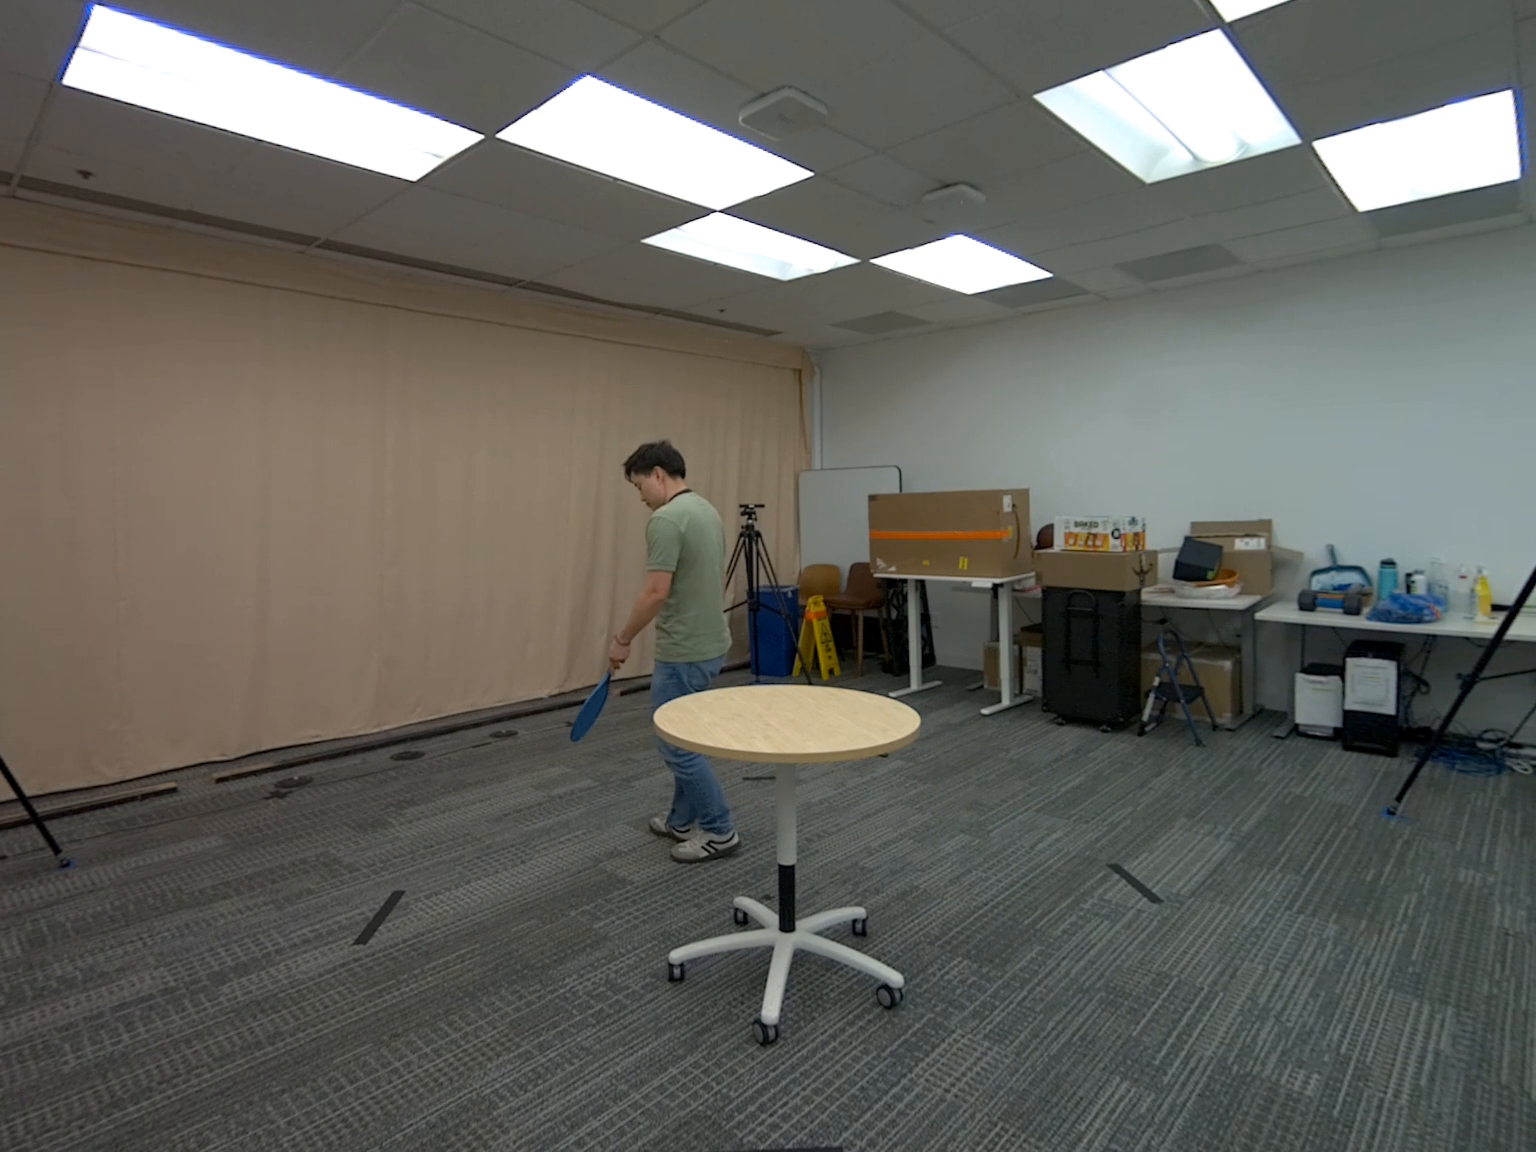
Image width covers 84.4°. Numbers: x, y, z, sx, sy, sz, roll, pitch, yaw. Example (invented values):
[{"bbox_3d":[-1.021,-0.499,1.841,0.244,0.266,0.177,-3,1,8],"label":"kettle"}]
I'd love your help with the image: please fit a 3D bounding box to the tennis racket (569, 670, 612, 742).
[{"bbox_3d":[-0.651,0.463,3.318,0.032,0.432,0.210,21,6,12],"label":"tennis racket"}]
